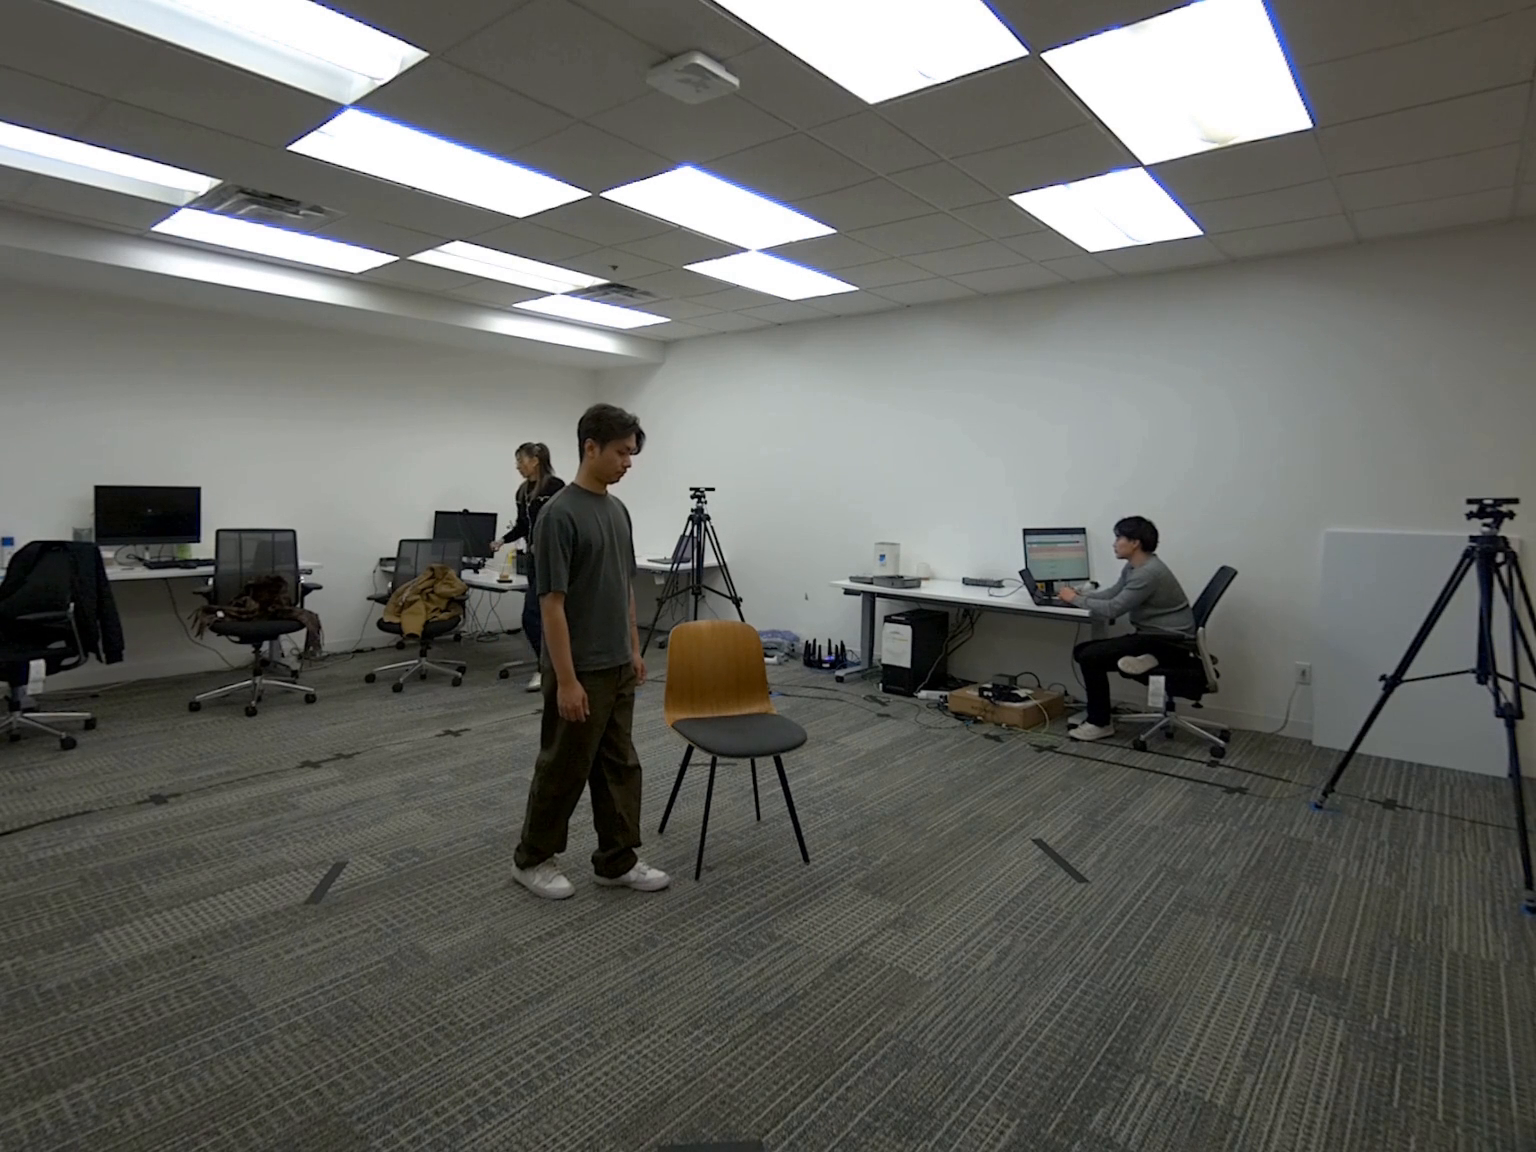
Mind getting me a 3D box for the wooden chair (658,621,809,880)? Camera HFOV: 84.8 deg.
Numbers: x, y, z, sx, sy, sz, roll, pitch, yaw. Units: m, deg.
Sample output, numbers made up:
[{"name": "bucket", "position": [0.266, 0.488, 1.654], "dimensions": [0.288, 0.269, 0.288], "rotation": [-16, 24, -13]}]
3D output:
[{"name": "wooden chair", "position": [-0.142, 0.622, 3.265], "dimensions": [0.467, 0.878, 0.534], "rotation": [0, -1, -23]}]
